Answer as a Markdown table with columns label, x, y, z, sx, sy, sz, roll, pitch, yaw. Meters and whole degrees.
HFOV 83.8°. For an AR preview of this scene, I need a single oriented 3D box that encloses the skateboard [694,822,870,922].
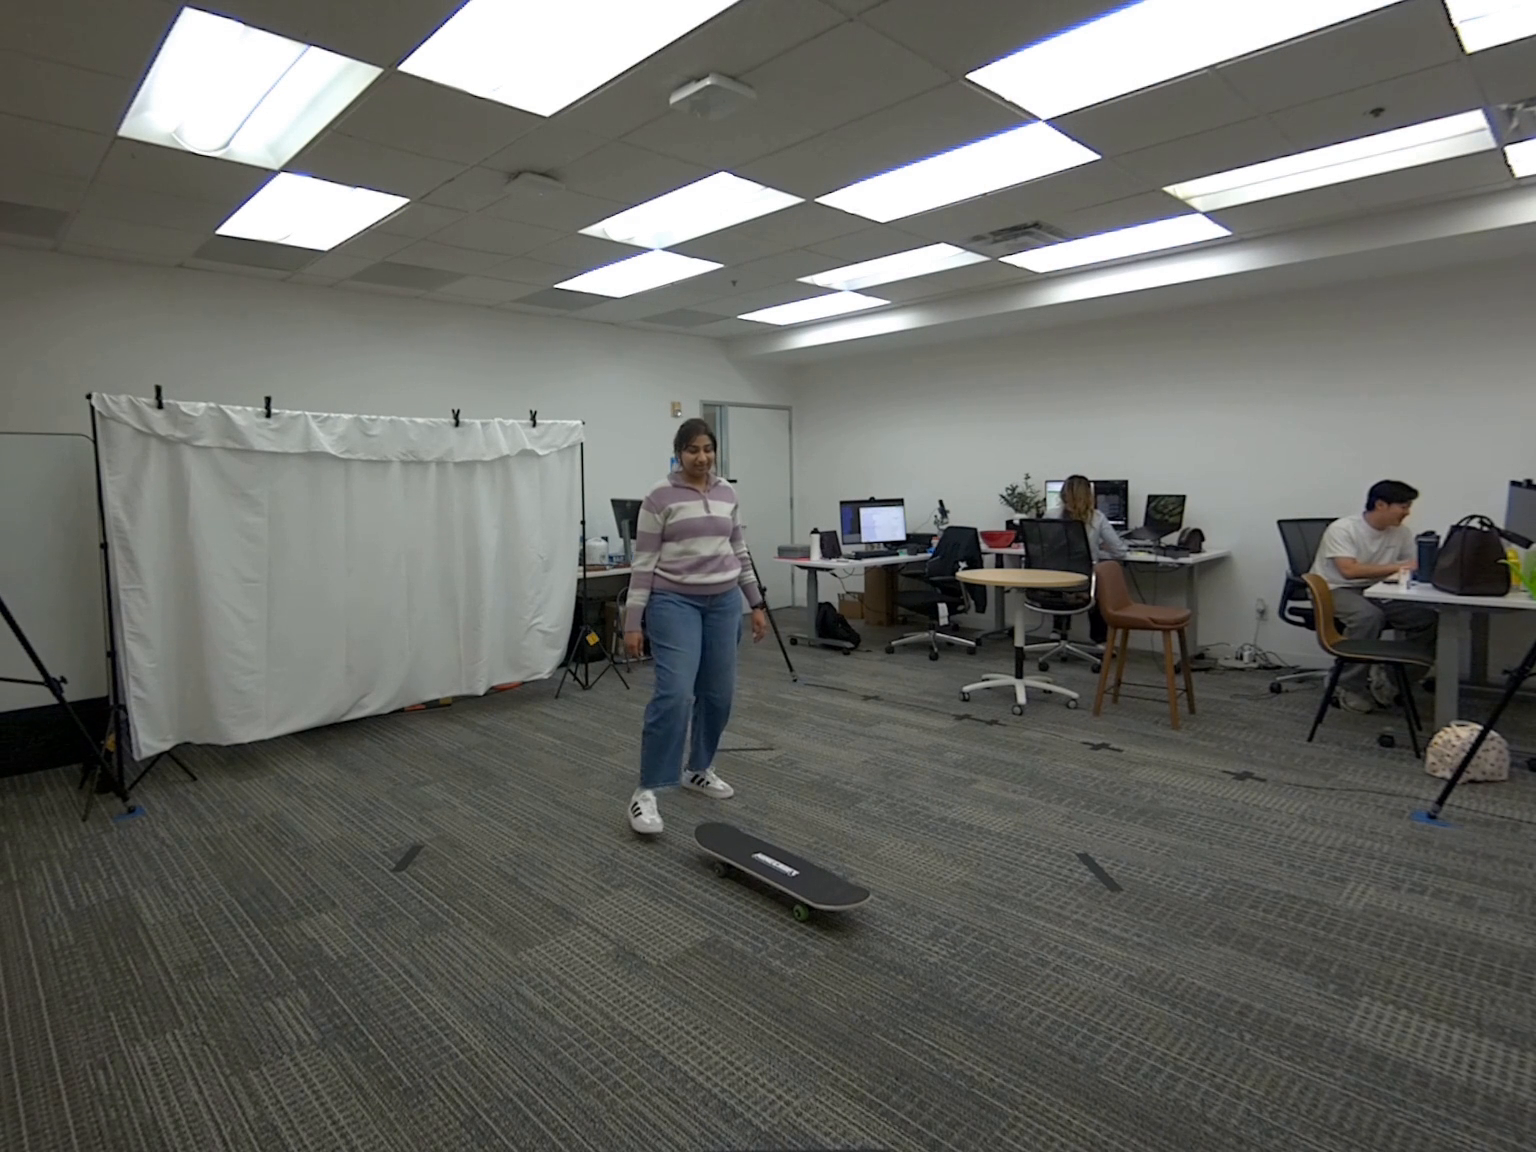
| label | x | y | z | sx | sy | sz | roll | pitch | yaw |
| --- | --- | --- | --- | --- | --- | --- | --- | --- | --- |
| skateboard | 0.036 | 1.014 | 2.900 | 0.188 | 0.110 | 0.810 | -7 | 9 | -41 |
